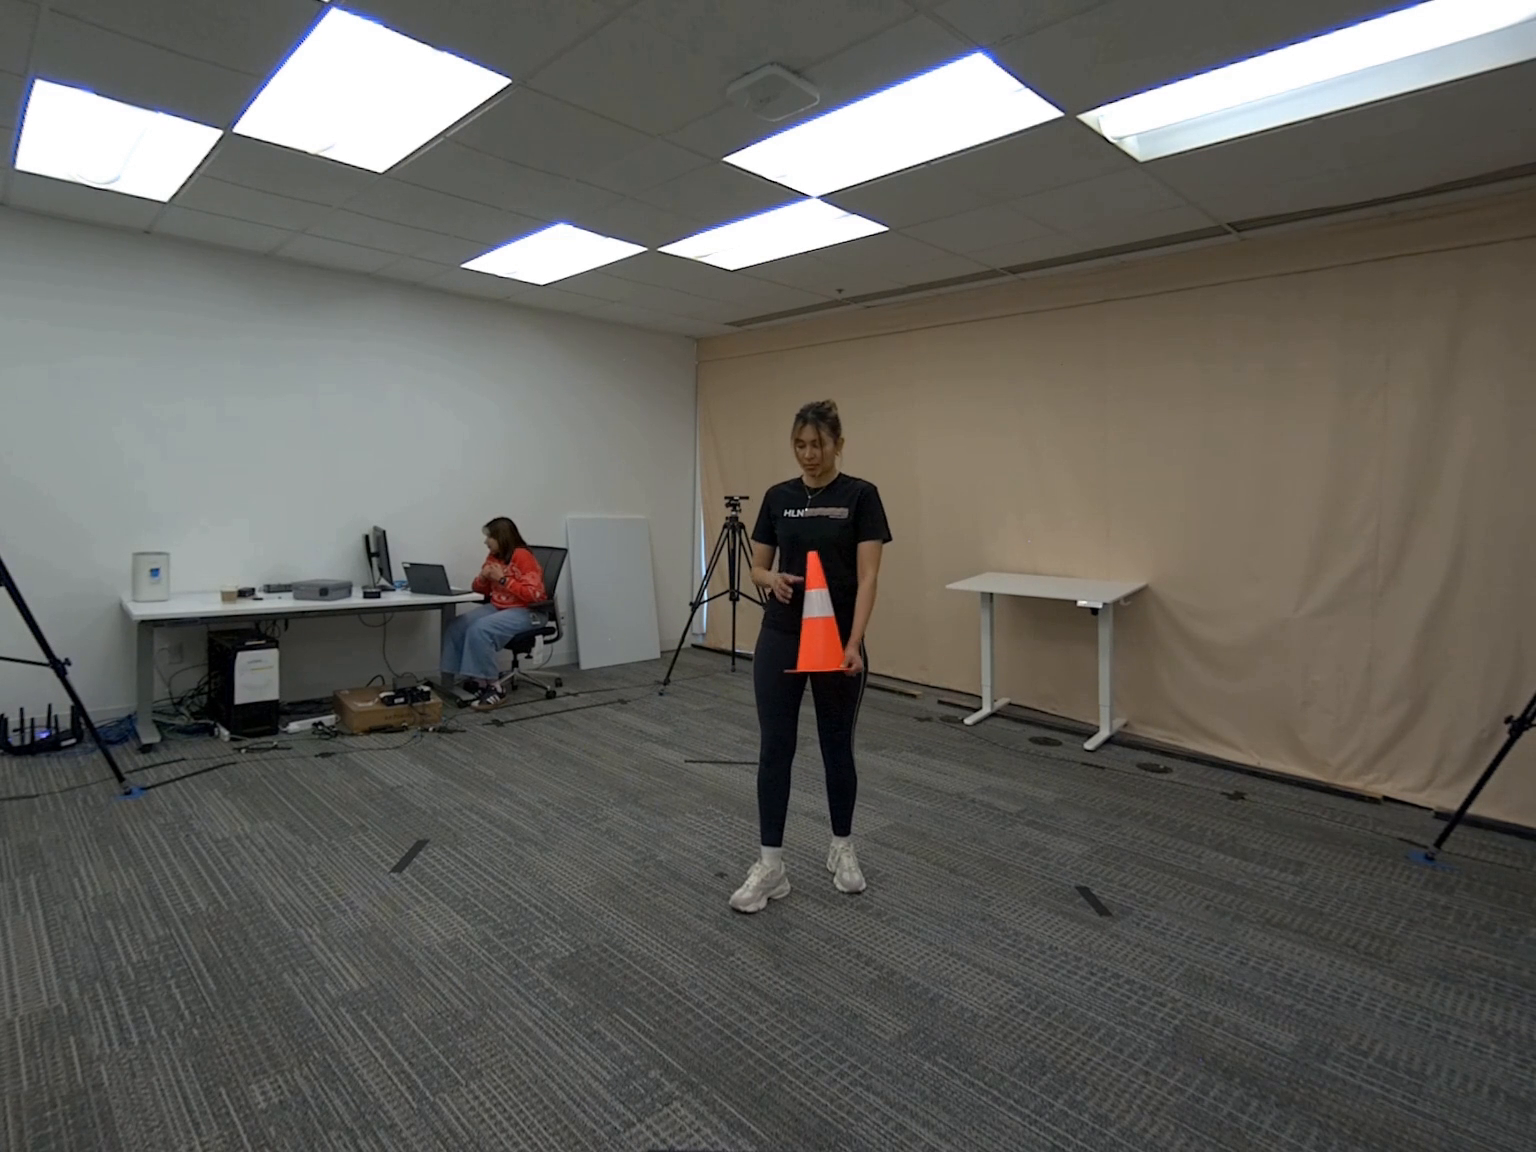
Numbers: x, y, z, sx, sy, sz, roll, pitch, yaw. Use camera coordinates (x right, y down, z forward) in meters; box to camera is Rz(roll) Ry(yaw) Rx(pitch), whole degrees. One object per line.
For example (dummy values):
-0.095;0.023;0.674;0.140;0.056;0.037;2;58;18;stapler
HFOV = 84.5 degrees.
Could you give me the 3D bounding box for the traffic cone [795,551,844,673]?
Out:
0.165;0.114;2.707;0.201;0.386;0.206;-1;-7;-17;traffic cone
